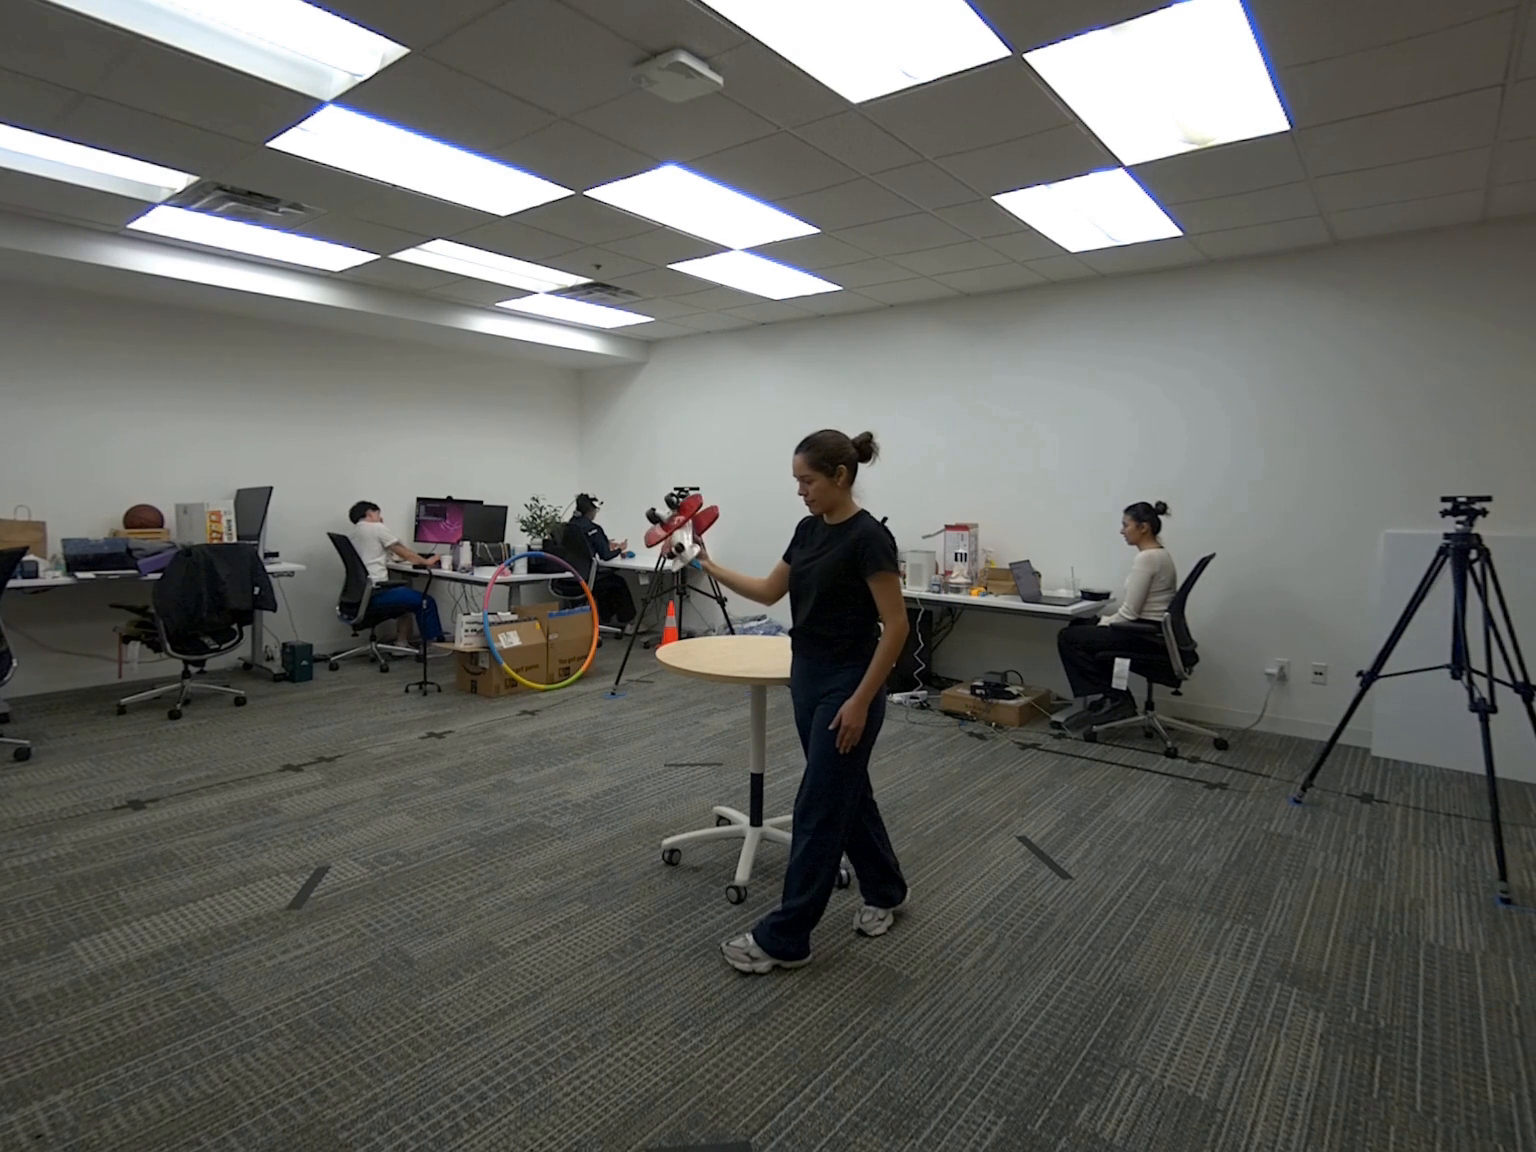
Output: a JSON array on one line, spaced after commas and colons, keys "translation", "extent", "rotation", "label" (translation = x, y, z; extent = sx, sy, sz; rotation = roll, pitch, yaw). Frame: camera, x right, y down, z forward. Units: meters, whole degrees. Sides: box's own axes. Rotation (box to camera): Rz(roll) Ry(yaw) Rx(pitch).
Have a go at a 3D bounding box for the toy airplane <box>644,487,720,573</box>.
[{"translation": [-0.275, -0.127, 2.743], "extent": [0.258, 0.263, 0.150], "rotation": [-8, -21, 36], "label": "toy airplane"}]
